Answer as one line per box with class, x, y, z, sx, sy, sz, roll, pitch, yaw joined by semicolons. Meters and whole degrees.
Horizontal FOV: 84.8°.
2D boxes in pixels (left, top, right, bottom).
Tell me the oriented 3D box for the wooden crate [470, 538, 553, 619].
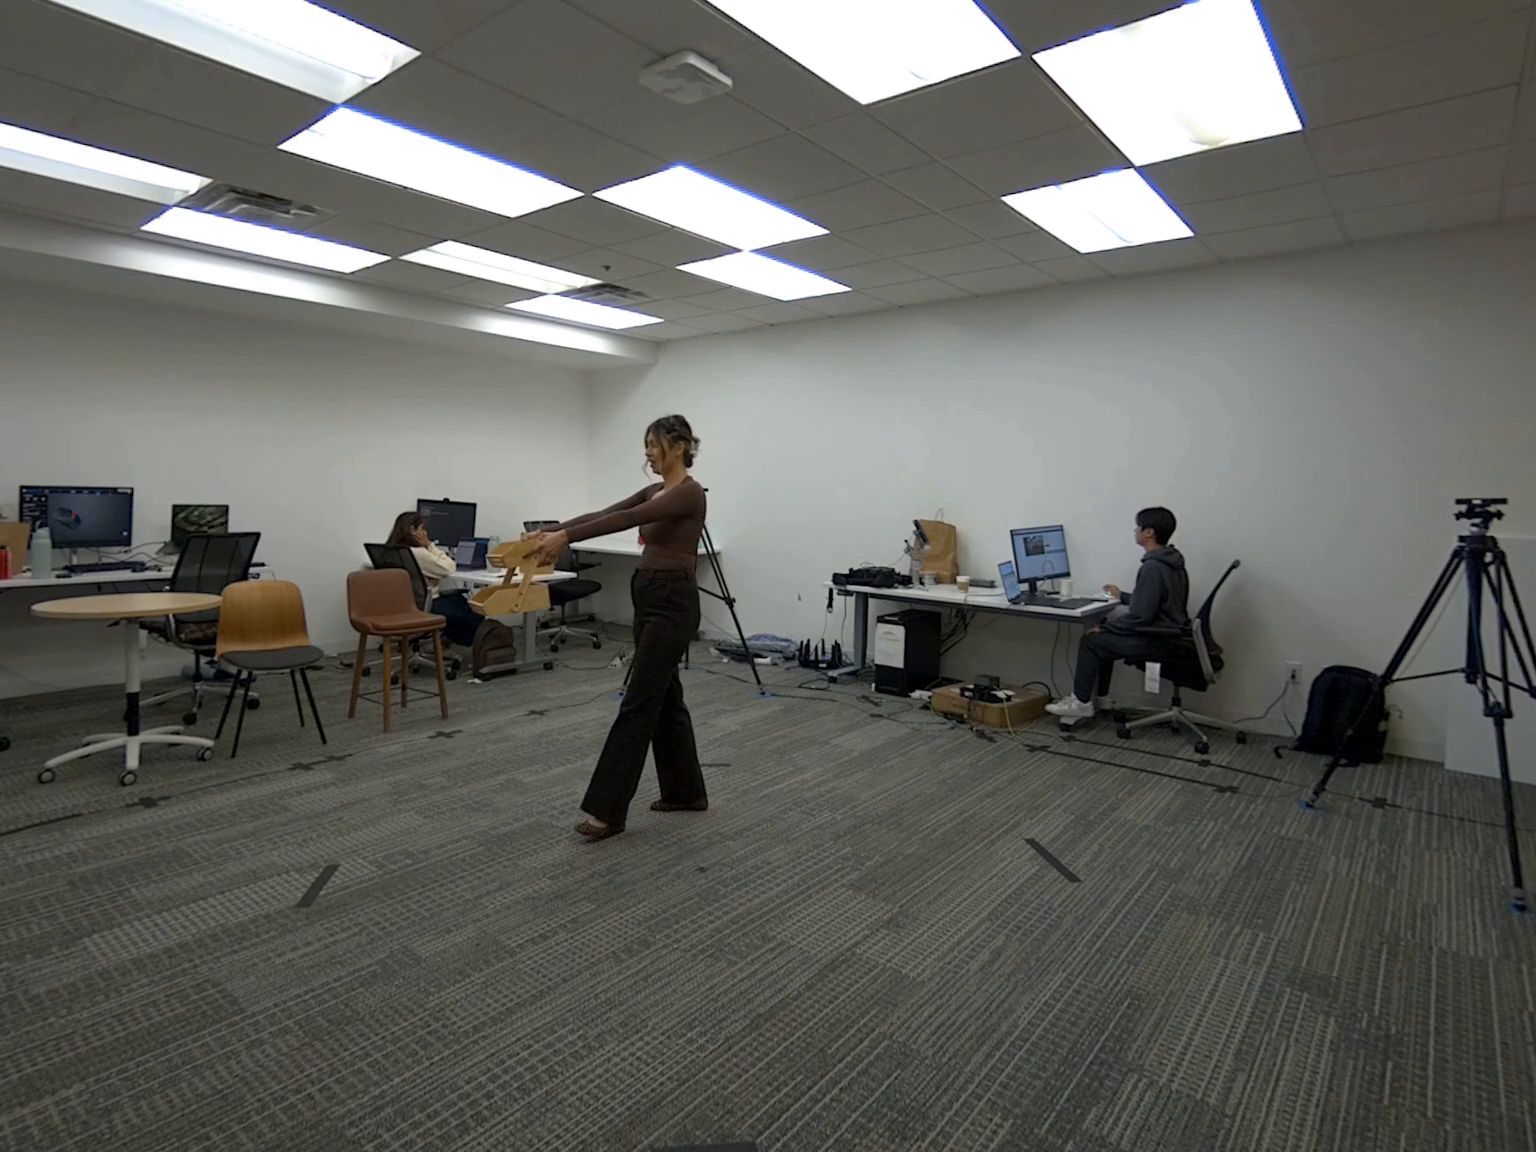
wooden crate;-1.013;-0.005;3.289;0.295;0.272;0.333;-8;5;-28
